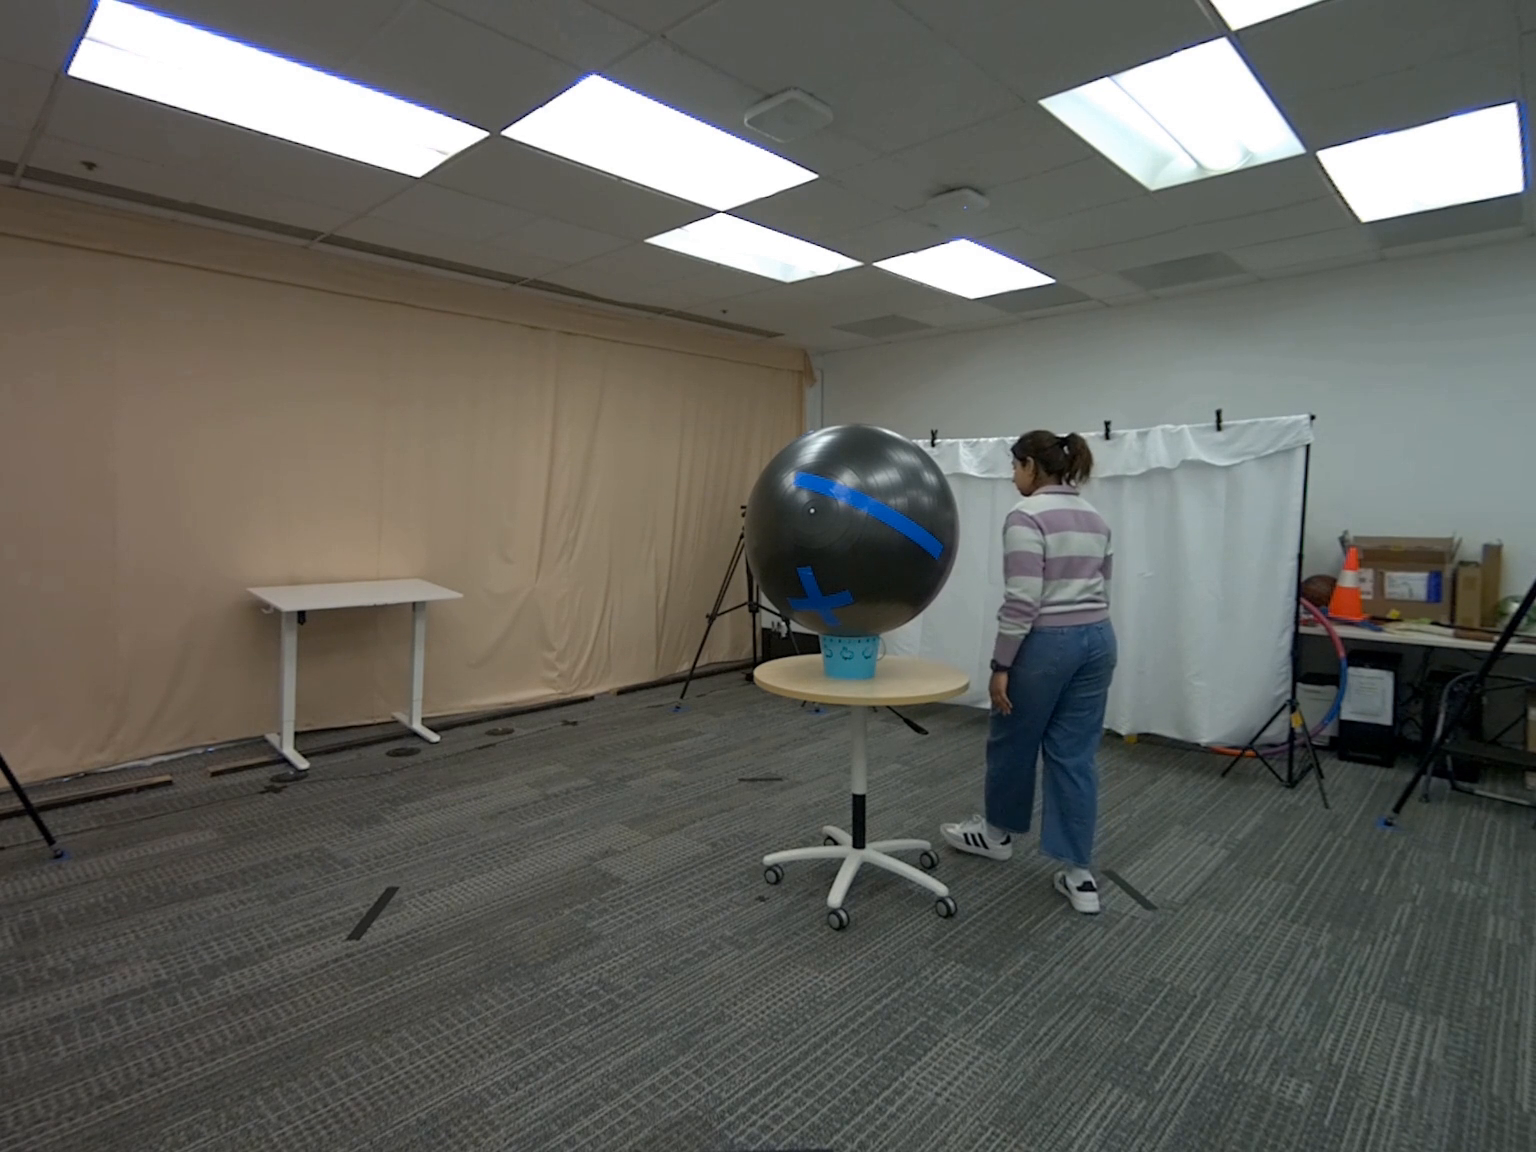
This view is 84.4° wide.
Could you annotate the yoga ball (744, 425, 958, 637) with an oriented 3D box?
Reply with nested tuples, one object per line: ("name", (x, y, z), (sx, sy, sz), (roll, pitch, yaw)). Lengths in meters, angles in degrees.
("yoga ball", (0.293, -0.156, 3.014), (0.757, 0.756, 0.760), (0, 4, -2))
